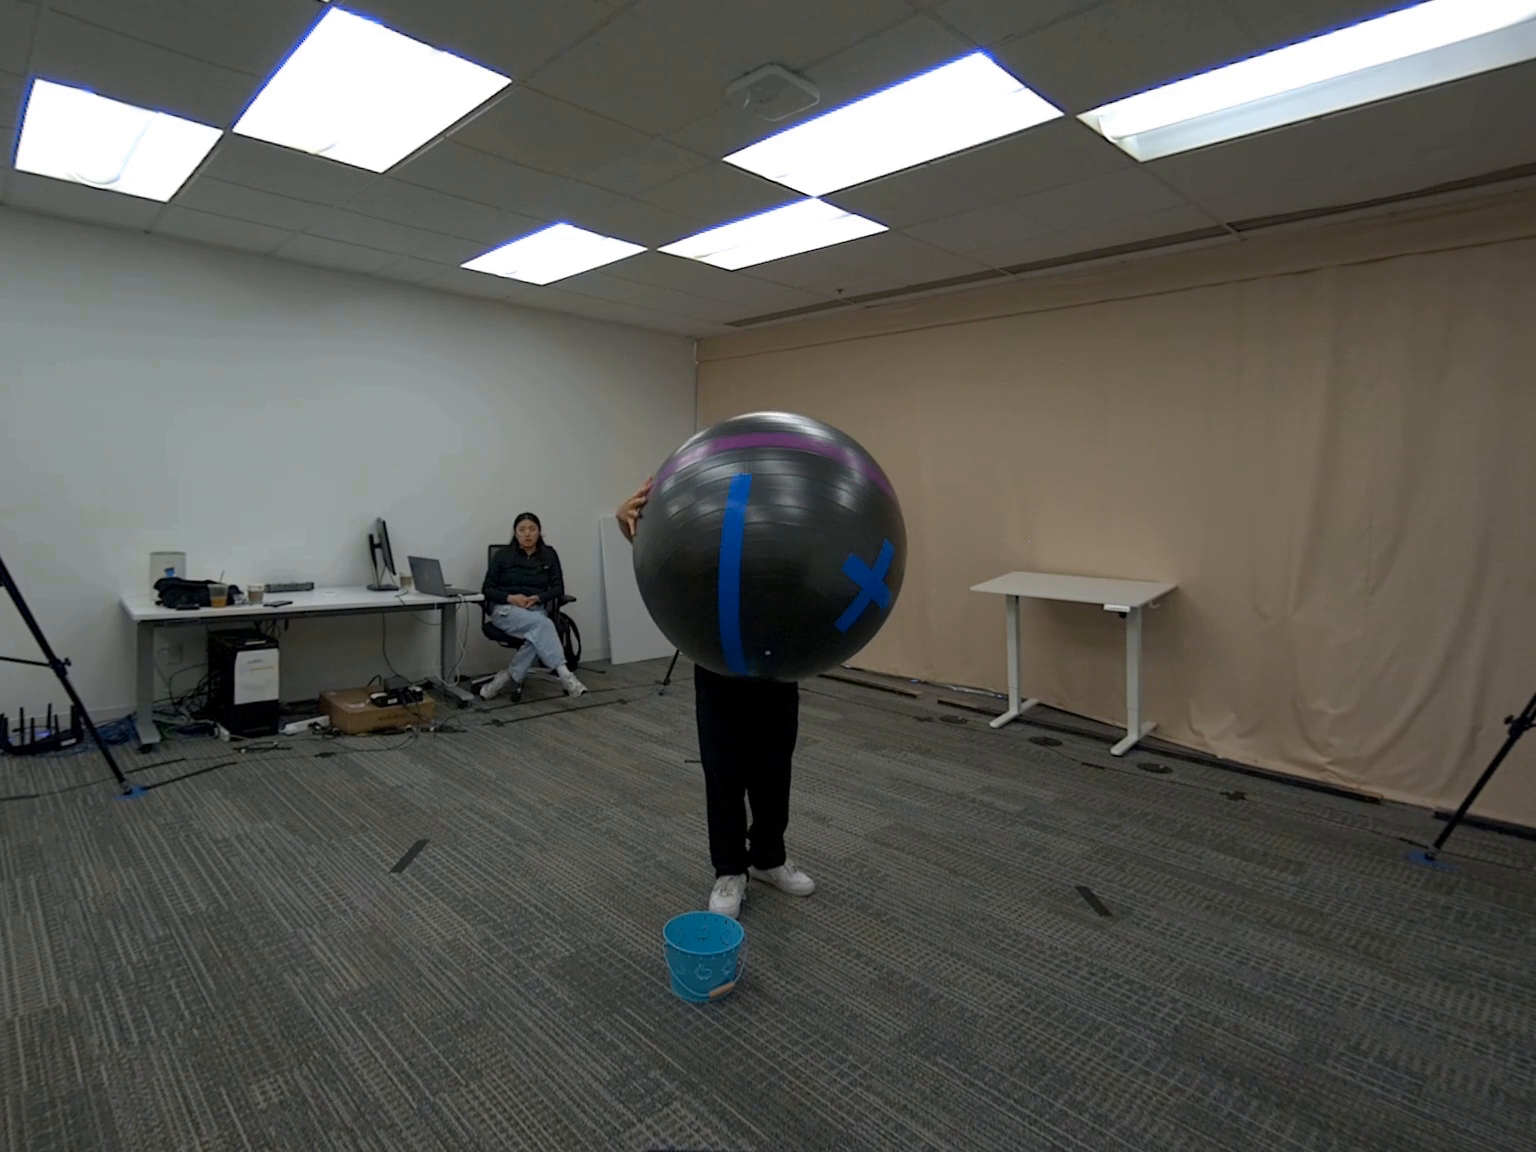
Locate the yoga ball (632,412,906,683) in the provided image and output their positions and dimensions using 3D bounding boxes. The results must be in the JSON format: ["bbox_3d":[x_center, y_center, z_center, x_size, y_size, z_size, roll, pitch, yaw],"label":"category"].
[{"bbox_3d":[0.006,-0.067,2.358,0.757,0.756,0.761,1,4,-1],"label":"yoga ball"}]
